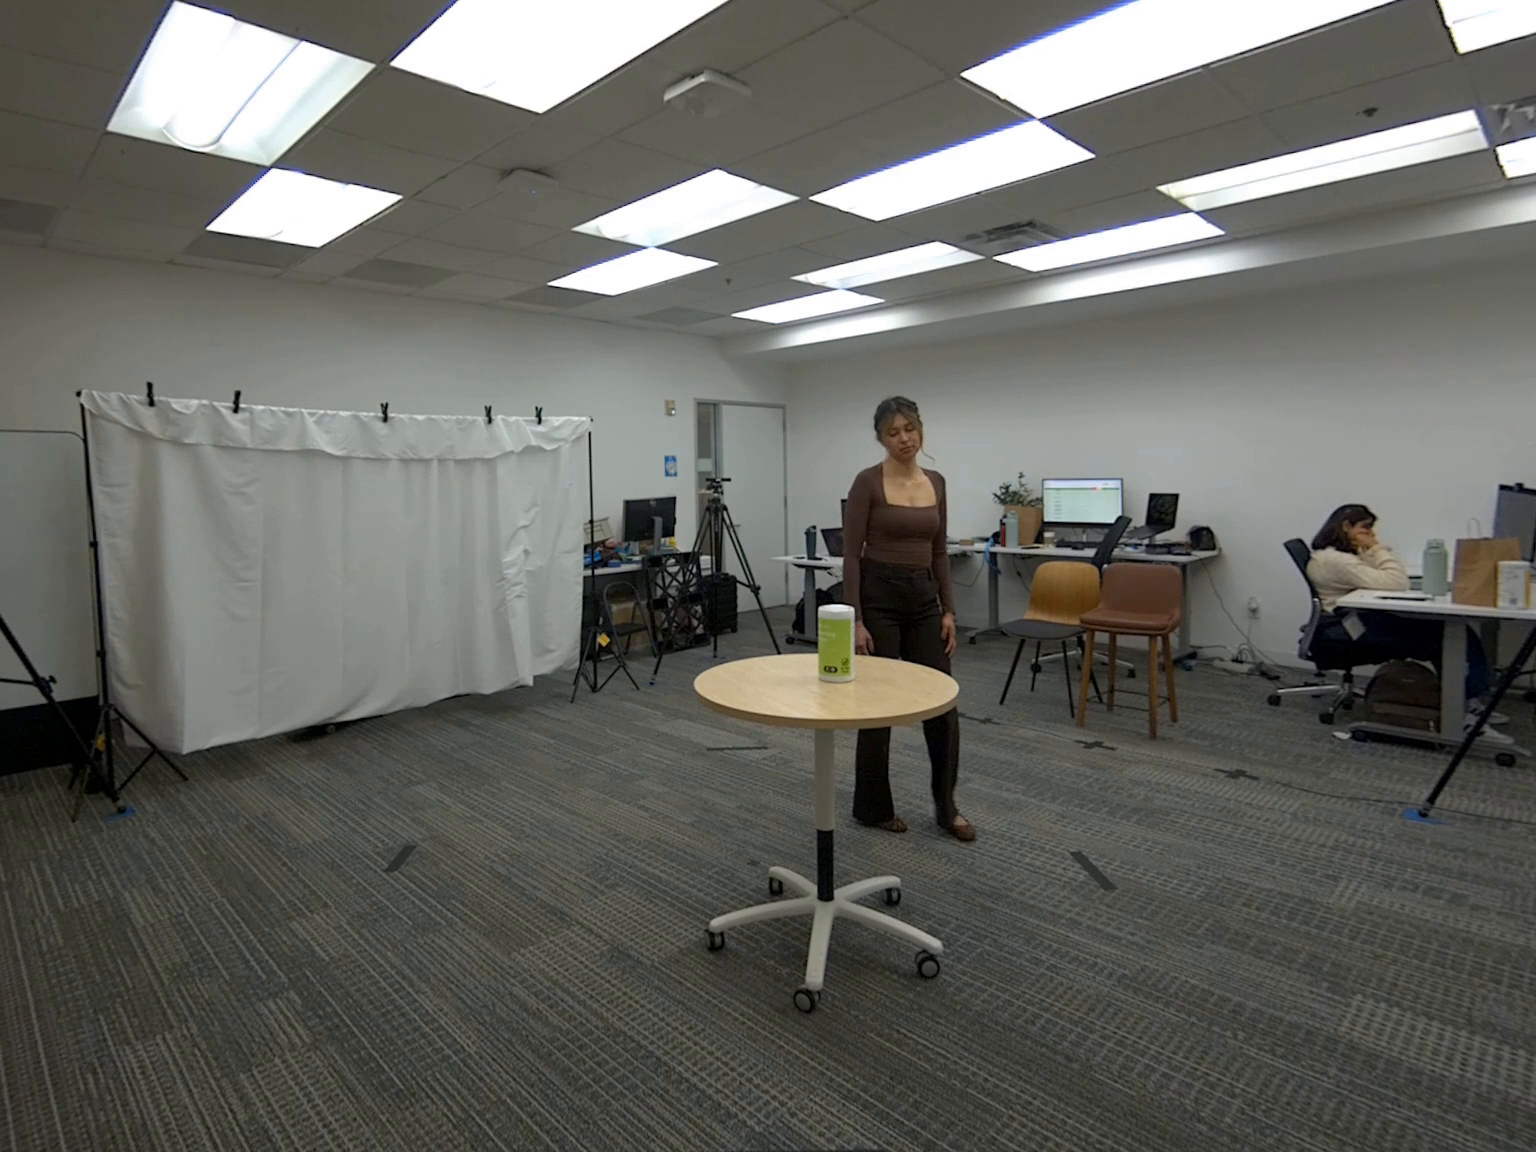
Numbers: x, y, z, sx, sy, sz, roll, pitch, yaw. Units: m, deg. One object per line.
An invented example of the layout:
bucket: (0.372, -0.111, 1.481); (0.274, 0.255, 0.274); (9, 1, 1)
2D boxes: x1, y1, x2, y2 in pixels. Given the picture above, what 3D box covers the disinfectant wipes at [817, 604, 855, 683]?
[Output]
disinfectant wipes: (0.210, 0.202, 2.530); (0.118, 0.216, 0.118); (-2, 5, -1)
